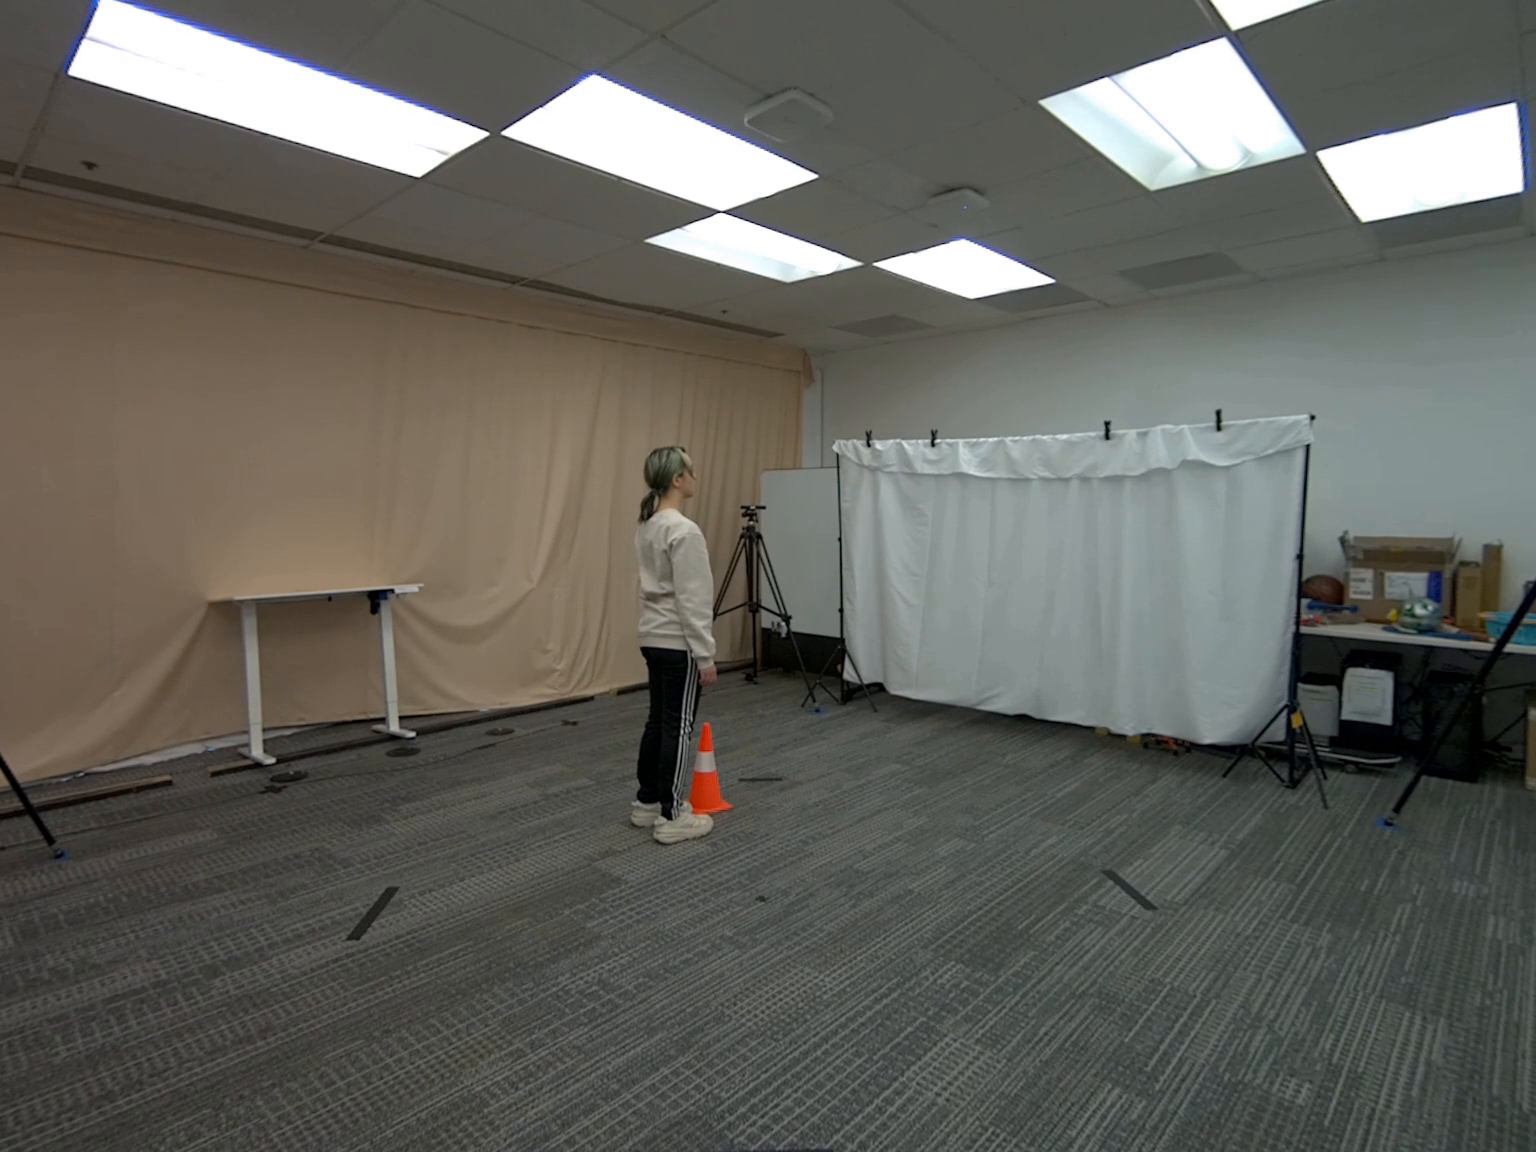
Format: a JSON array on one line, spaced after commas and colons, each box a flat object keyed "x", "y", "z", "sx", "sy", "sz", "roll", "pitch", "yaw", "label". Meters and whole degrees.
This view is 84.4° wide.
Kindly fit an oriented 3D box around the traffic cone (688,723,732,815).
[{"x": -0.298, "y": 0.881, "z": 3.927, "sx": 0.199, "sy": 0.383, "sz": 0.210, "roll": -3, "pitch": 4, "yaw": -21, "label": "traffic cone"}]
